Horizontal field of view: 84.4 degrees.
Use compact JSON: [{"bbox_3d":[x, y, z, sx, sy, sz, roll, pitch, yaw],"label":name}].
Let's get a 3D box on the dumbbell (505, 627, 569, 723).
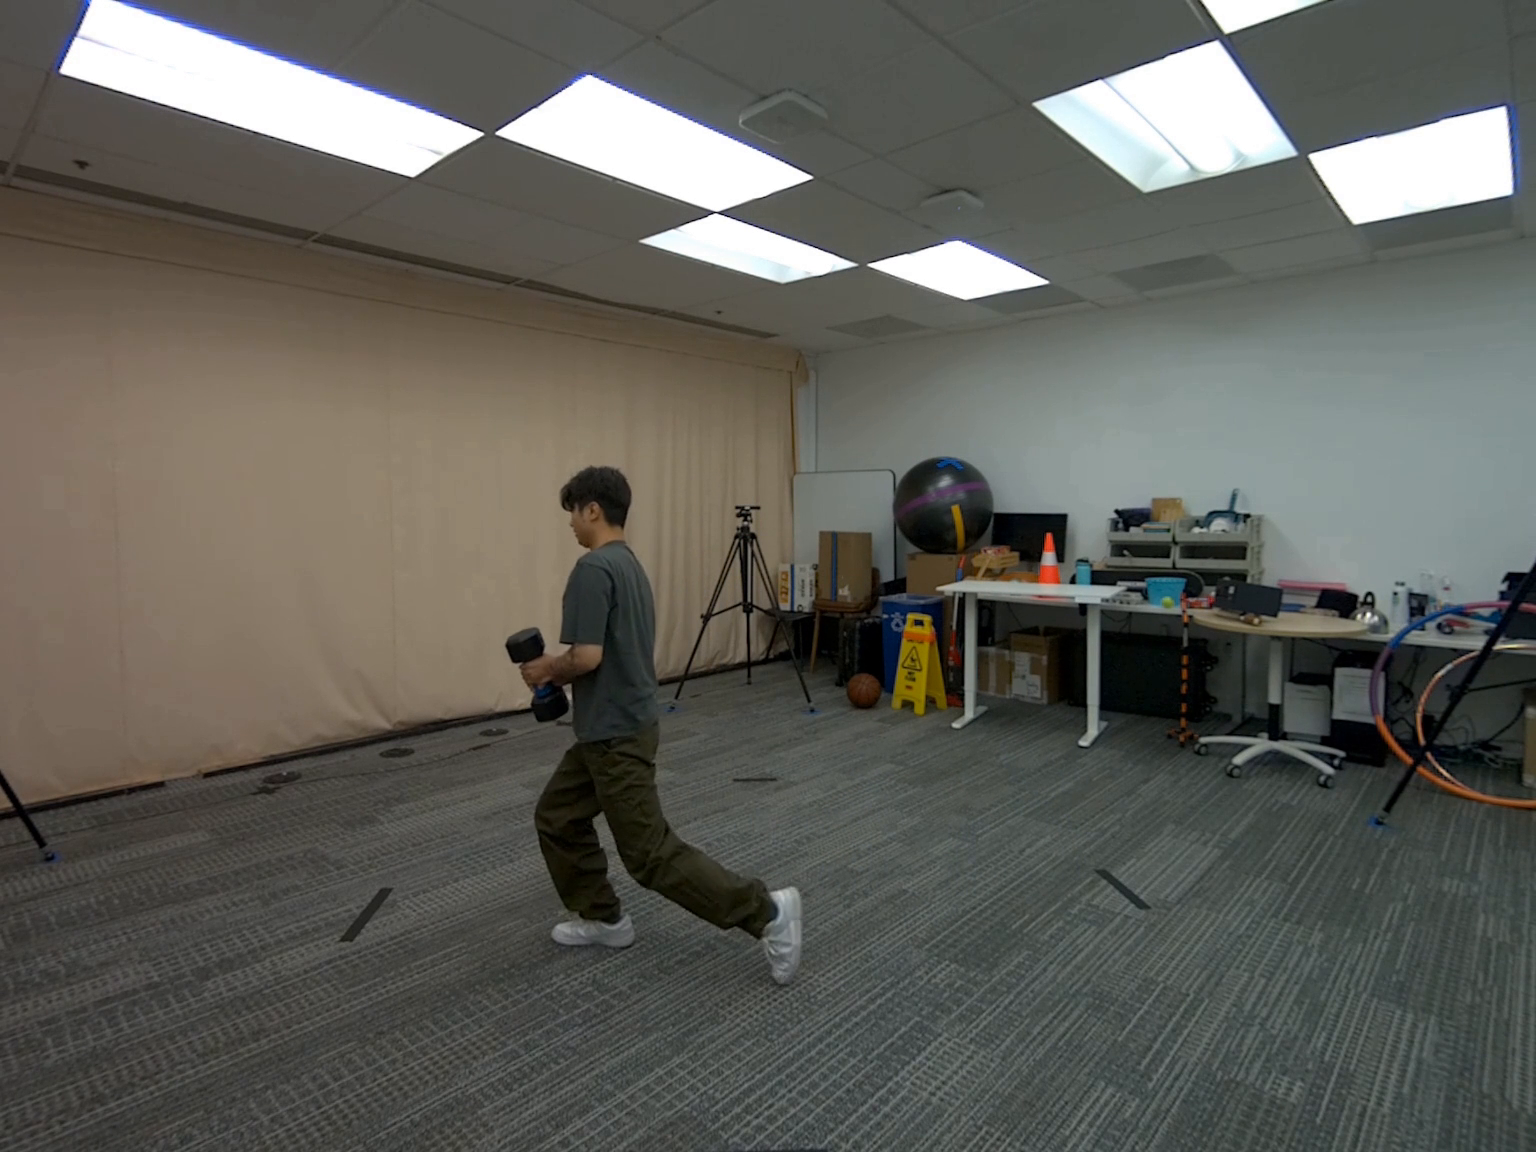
[{"bbox_3d":[-0.730,0.318,2.691,0.120,0.290,0.112,-28,14,-37],"label":"dumbbell"}]
